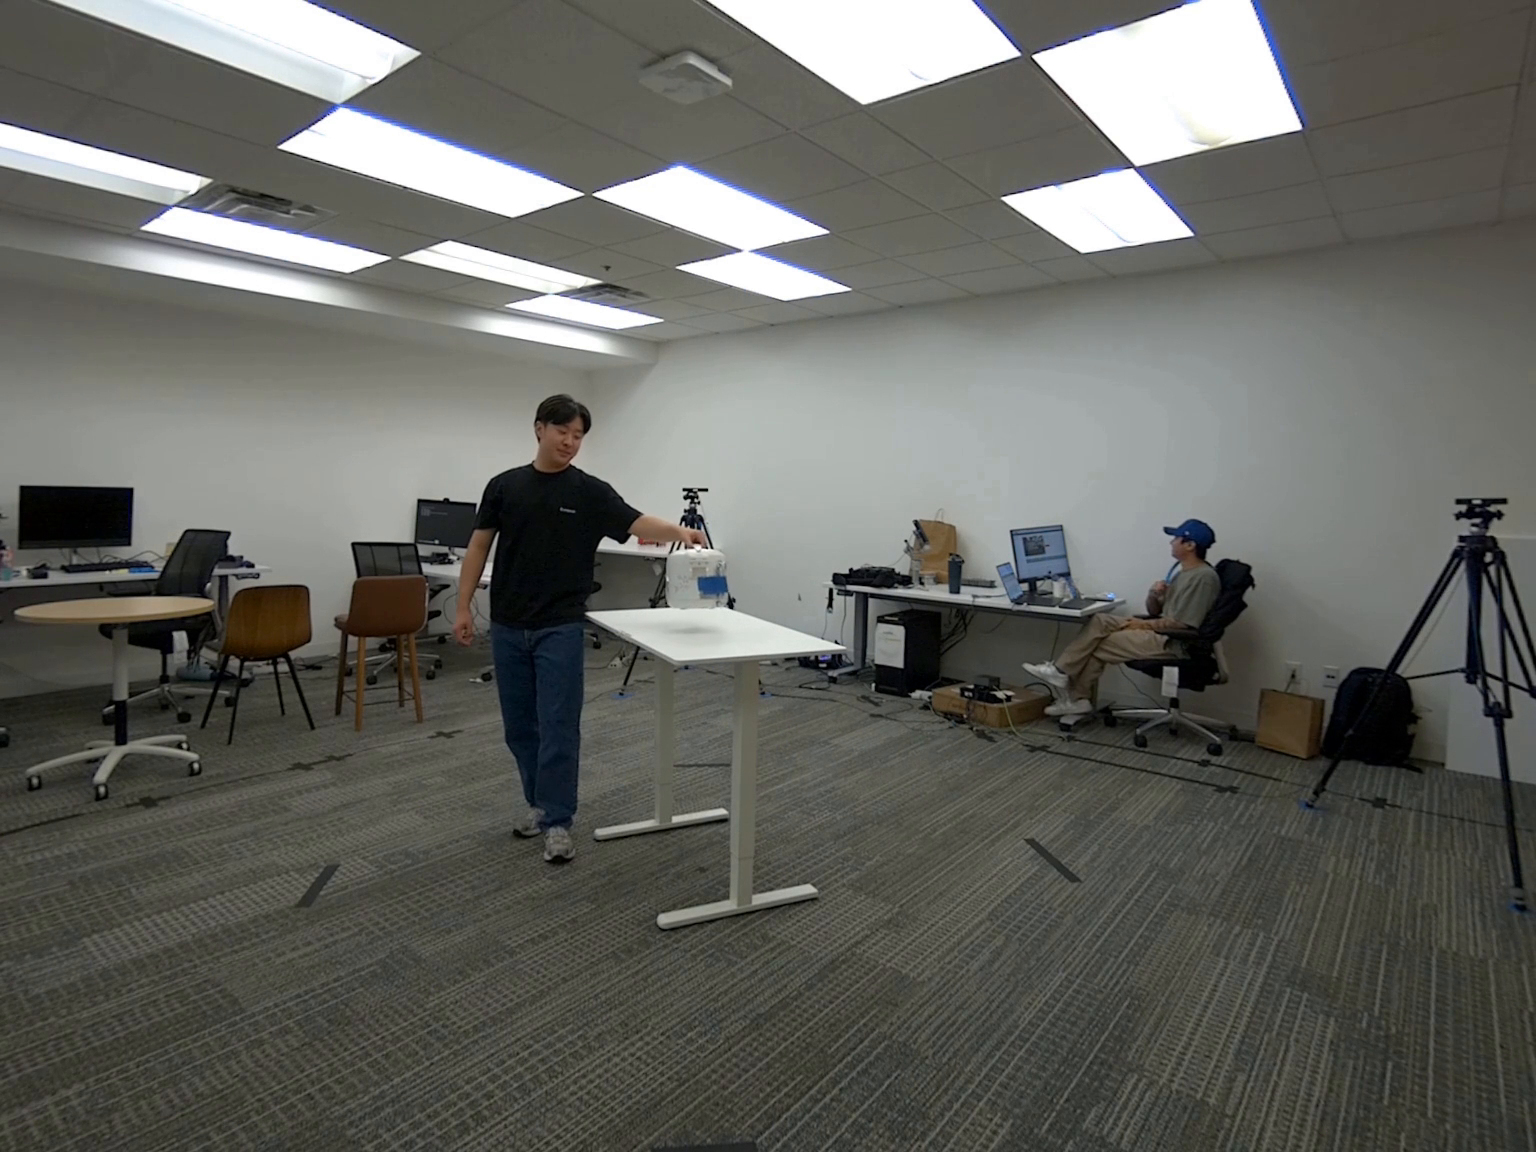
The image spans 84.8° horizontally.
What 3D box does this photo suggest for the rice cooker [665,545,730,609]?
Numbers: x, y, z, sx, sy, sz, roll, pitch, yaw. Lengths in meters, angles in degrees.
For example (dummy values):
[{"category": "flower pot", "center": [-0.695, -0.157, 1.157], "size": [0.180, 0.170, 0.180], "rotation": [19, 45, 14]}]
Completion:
[{"category": "rice cooker", "center": [-0.268, -0.002, 3.048], "size": [0.216, 0.234, 0.221], "rotation": [0, -6, -8]}]
